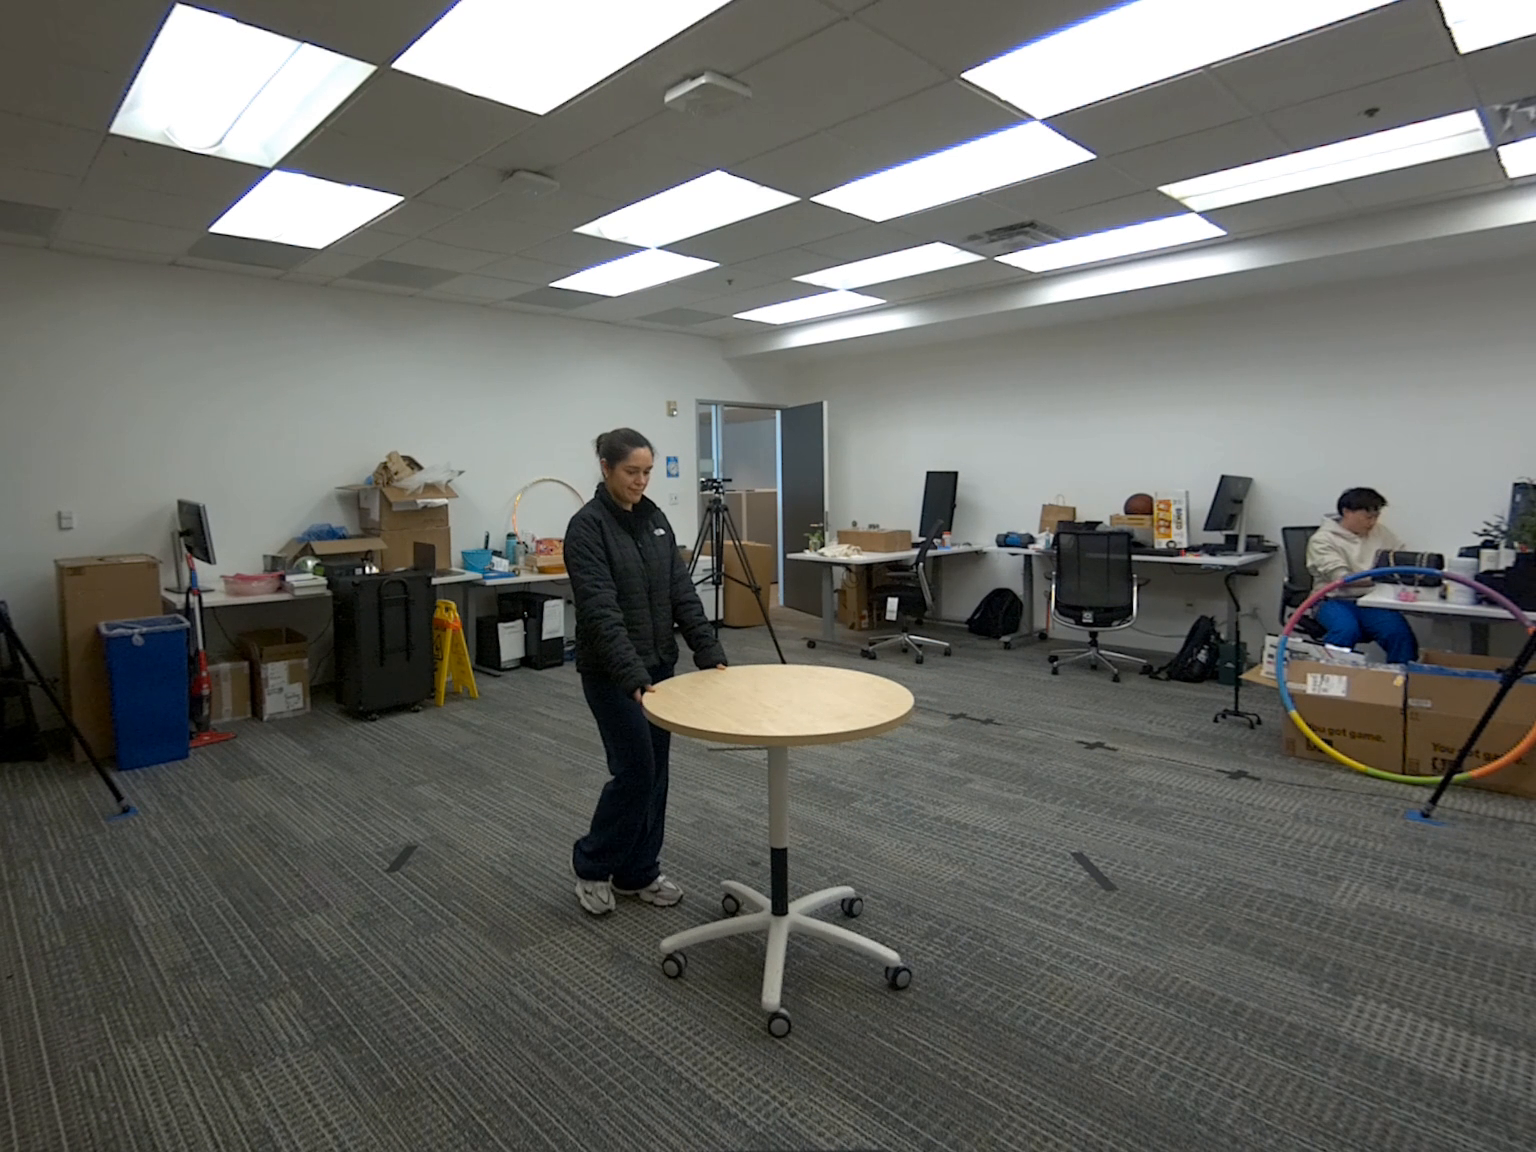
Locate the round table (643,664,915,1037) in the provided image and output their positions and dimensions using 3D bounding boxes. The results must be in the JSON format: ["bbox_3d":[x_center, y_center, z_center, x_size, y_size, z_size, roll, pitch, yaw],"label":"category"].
[{"bbox_3d":[0.037,0.721,2.486,0.784,0.783,0.790,-1,6,-2],"label":"round table"}]
